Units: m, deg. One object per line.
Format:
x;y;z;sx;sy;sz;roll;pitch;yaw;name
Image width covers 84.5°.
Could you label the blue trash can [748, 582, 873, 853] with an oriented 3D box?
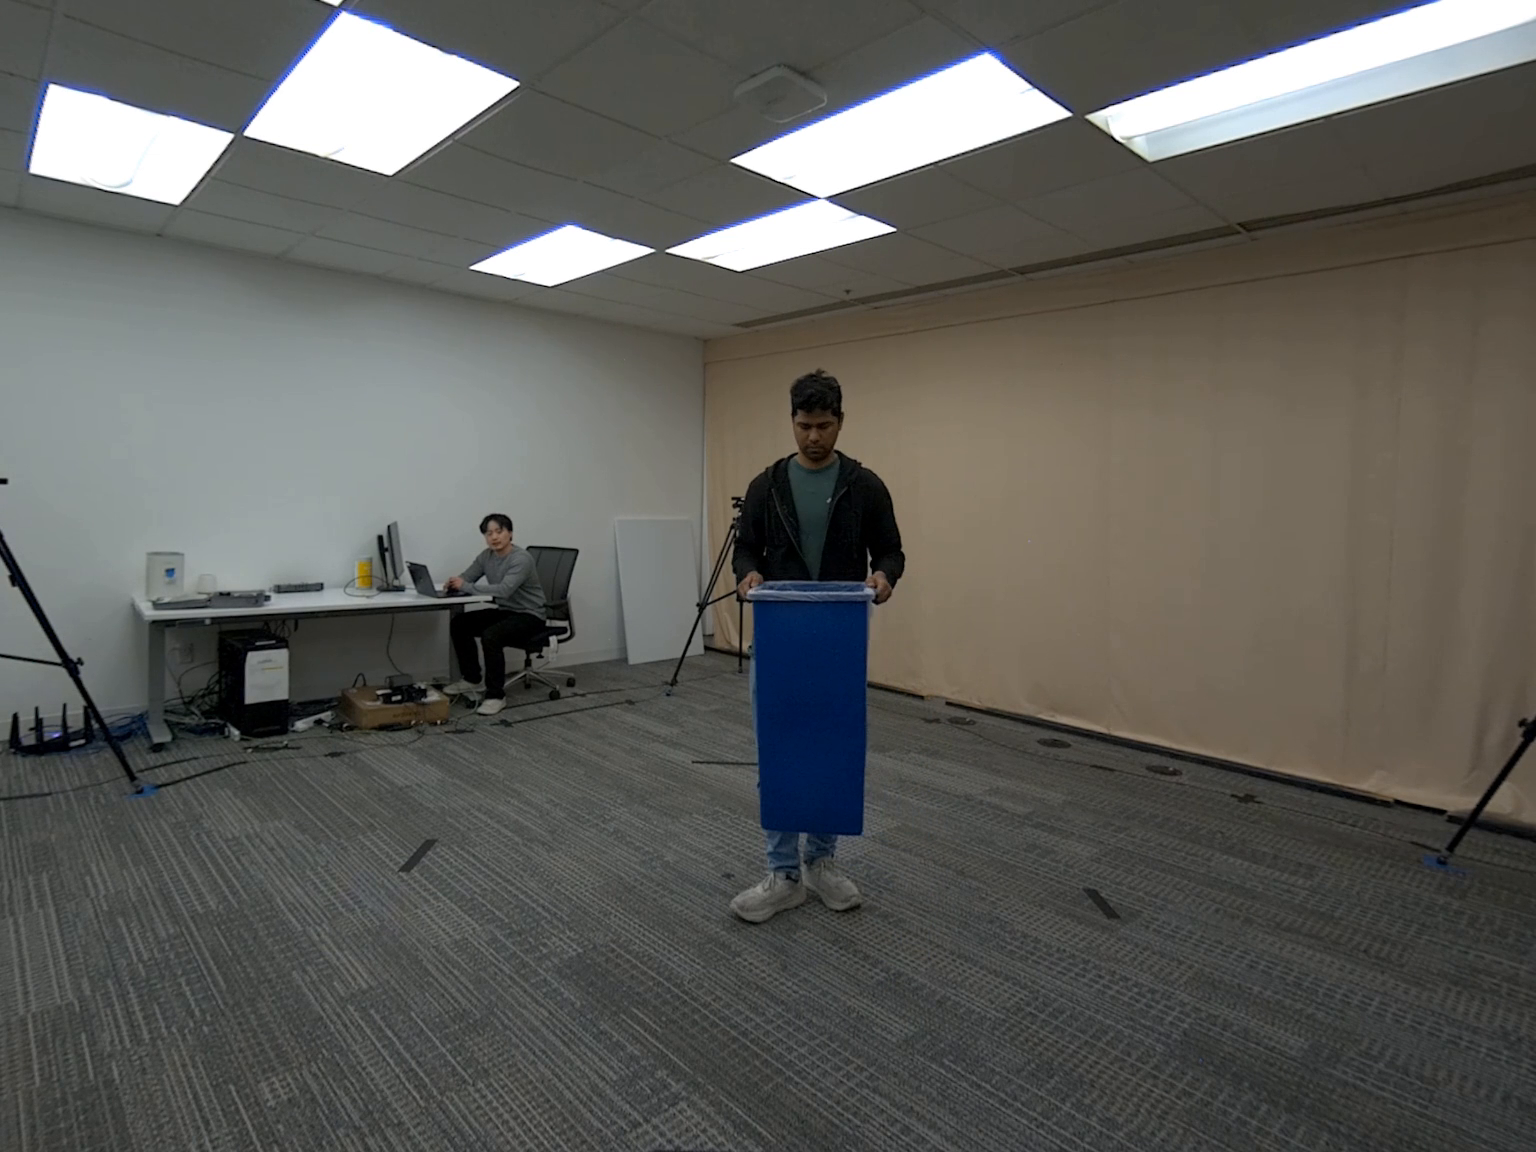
0.128;0.397;2.596;0.377;0.712;0.376;0;3;8;blue trash can
